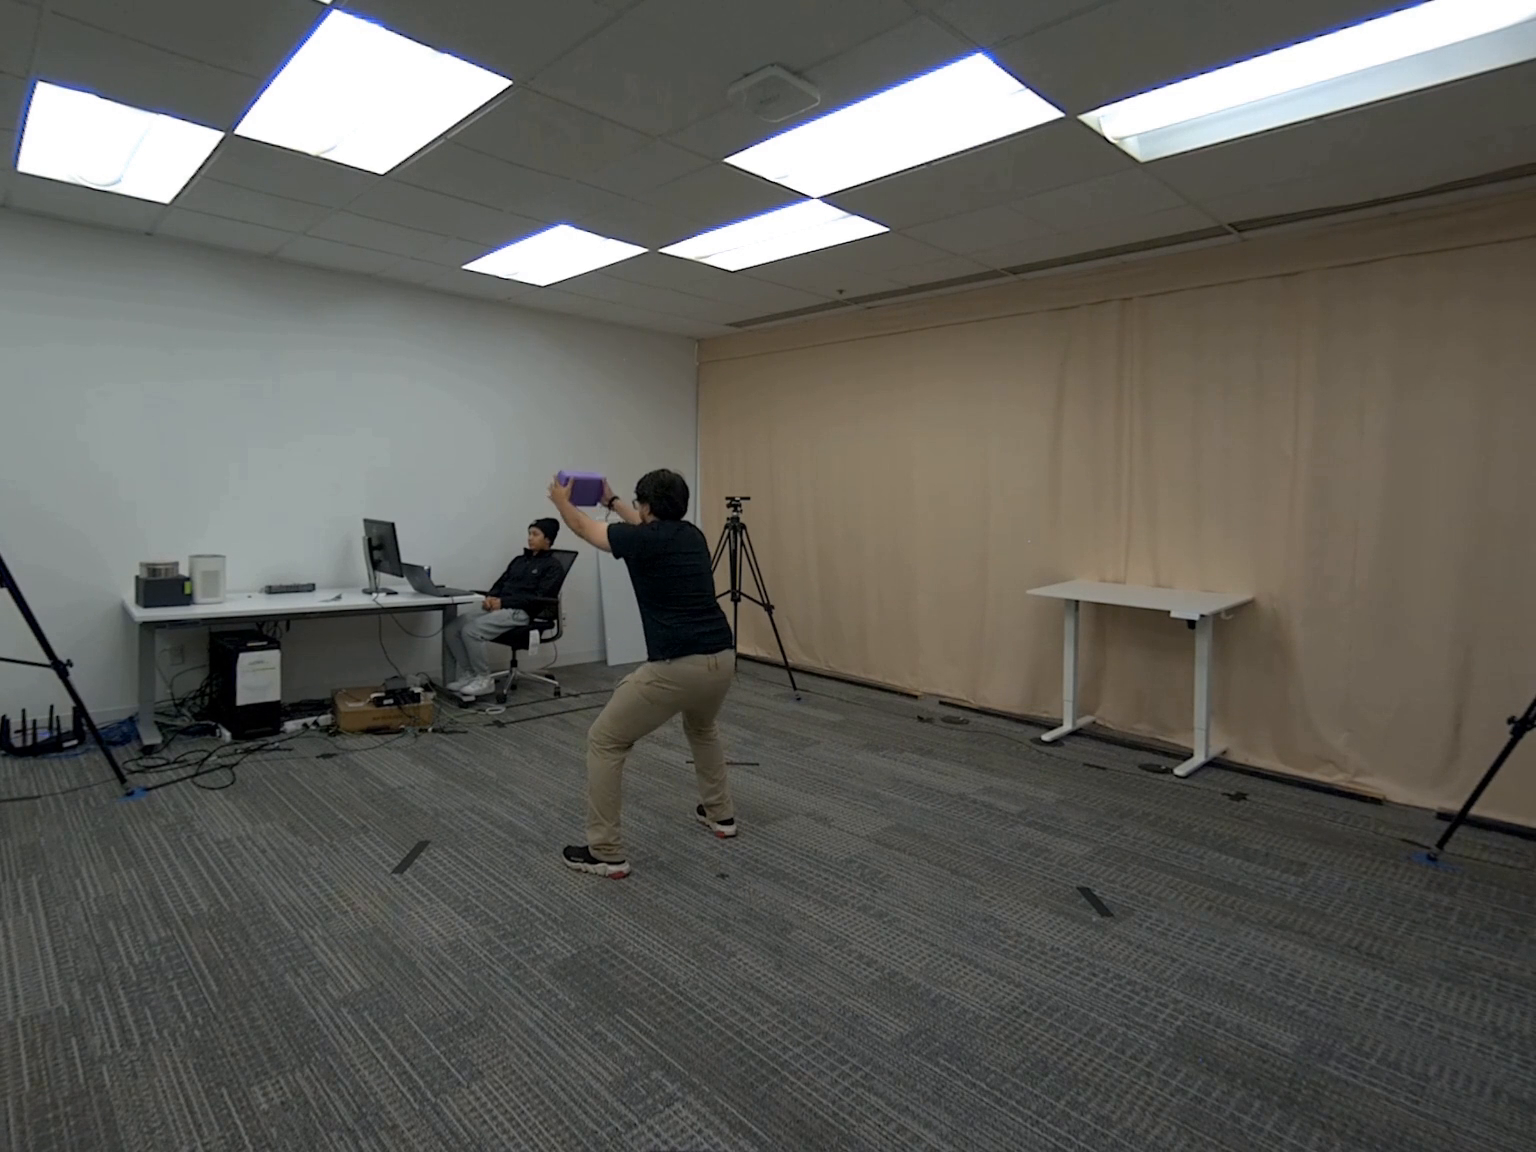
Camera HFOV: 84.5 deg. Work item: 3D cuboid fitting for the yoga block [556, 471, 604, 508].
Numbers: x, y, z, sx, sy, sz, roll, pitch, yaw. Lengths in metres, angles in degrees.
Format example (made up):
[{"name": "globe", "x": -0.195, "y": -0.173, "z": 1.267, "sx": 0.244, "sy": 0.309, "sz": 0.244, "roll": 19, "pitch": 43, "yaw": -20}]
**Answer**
[{"name": "yoga block", "x": -0.846, "y": -0.387, "z": 3.747, "sx": 0.079, "sy": 0.148, "sz": 0.224, "roll": 33, "pitch": 23, "yaw": 34}]
